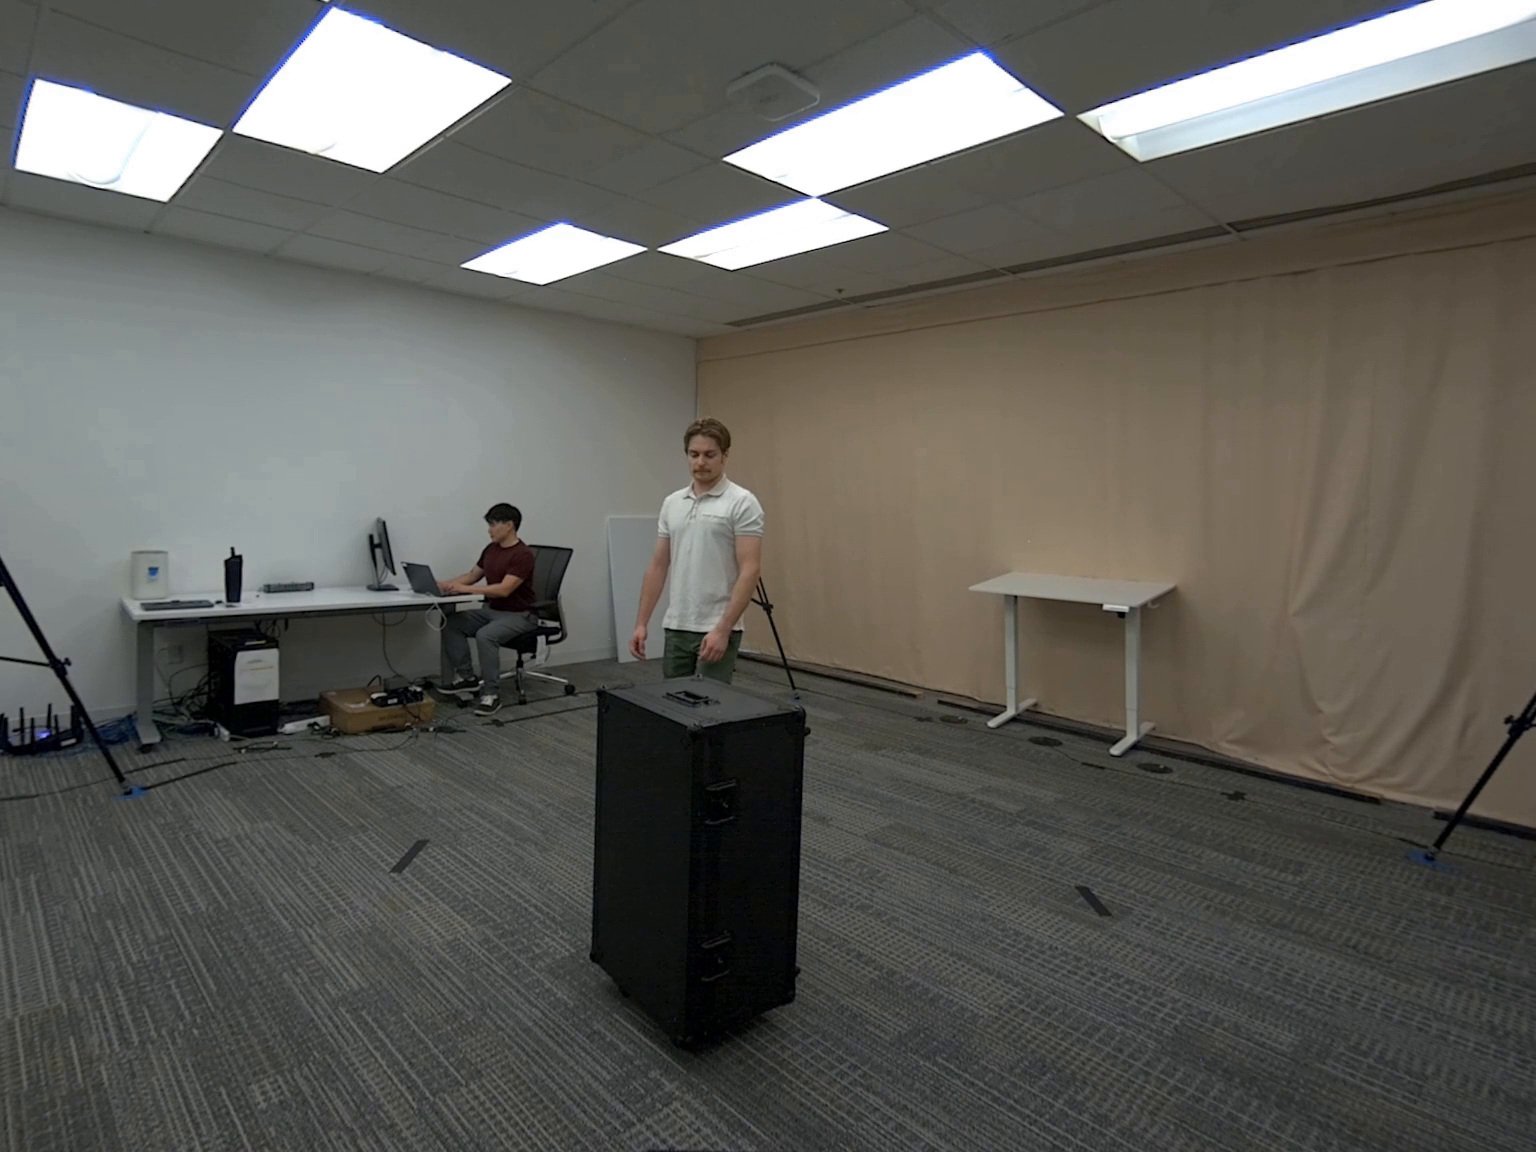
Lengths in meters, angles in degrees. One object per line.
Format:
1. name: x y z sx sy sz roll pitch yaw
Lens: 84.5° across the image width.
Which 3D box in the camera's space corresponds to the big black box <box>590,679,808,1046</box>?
1. big black box: -0.211 0.759 2.290 0.376 0.867 0.536 0 4 -39
